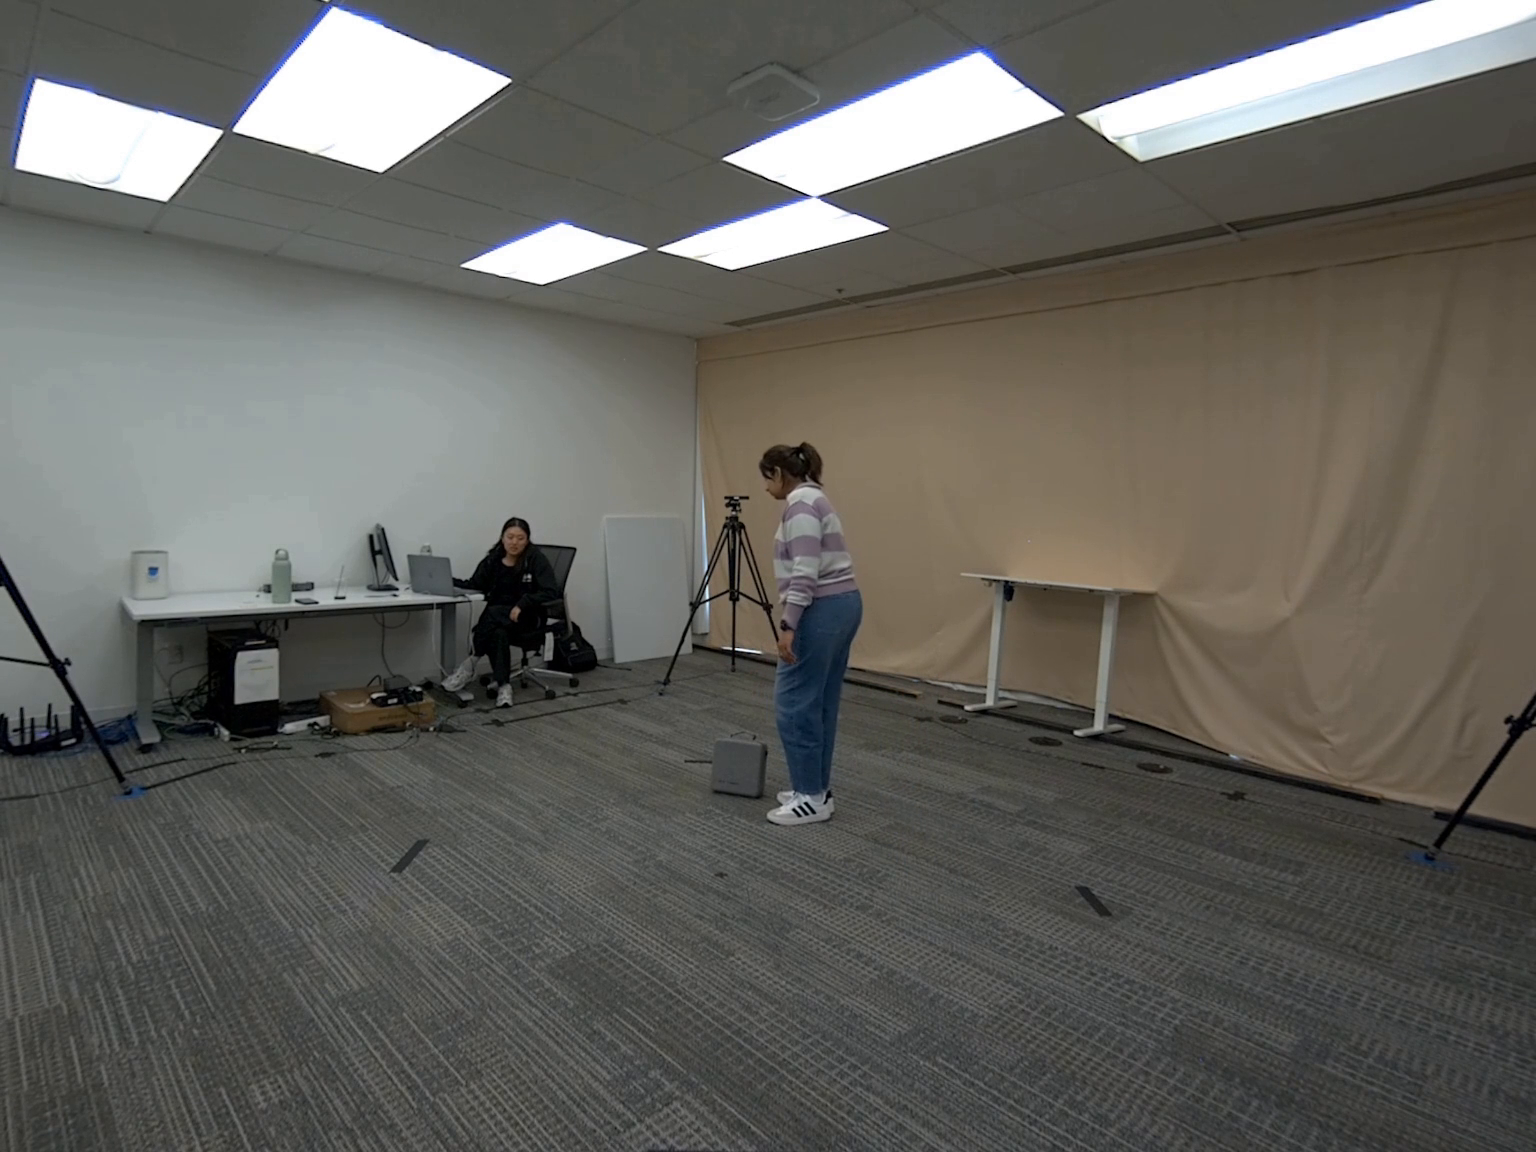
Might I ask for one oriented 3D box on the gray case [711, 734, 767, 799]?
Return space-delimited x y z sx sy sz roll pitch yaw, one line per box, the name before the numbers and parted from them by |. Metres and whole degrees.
gray case | -0.148 0.886 3.983 0.261 0.261 0.102 4 -3 21
